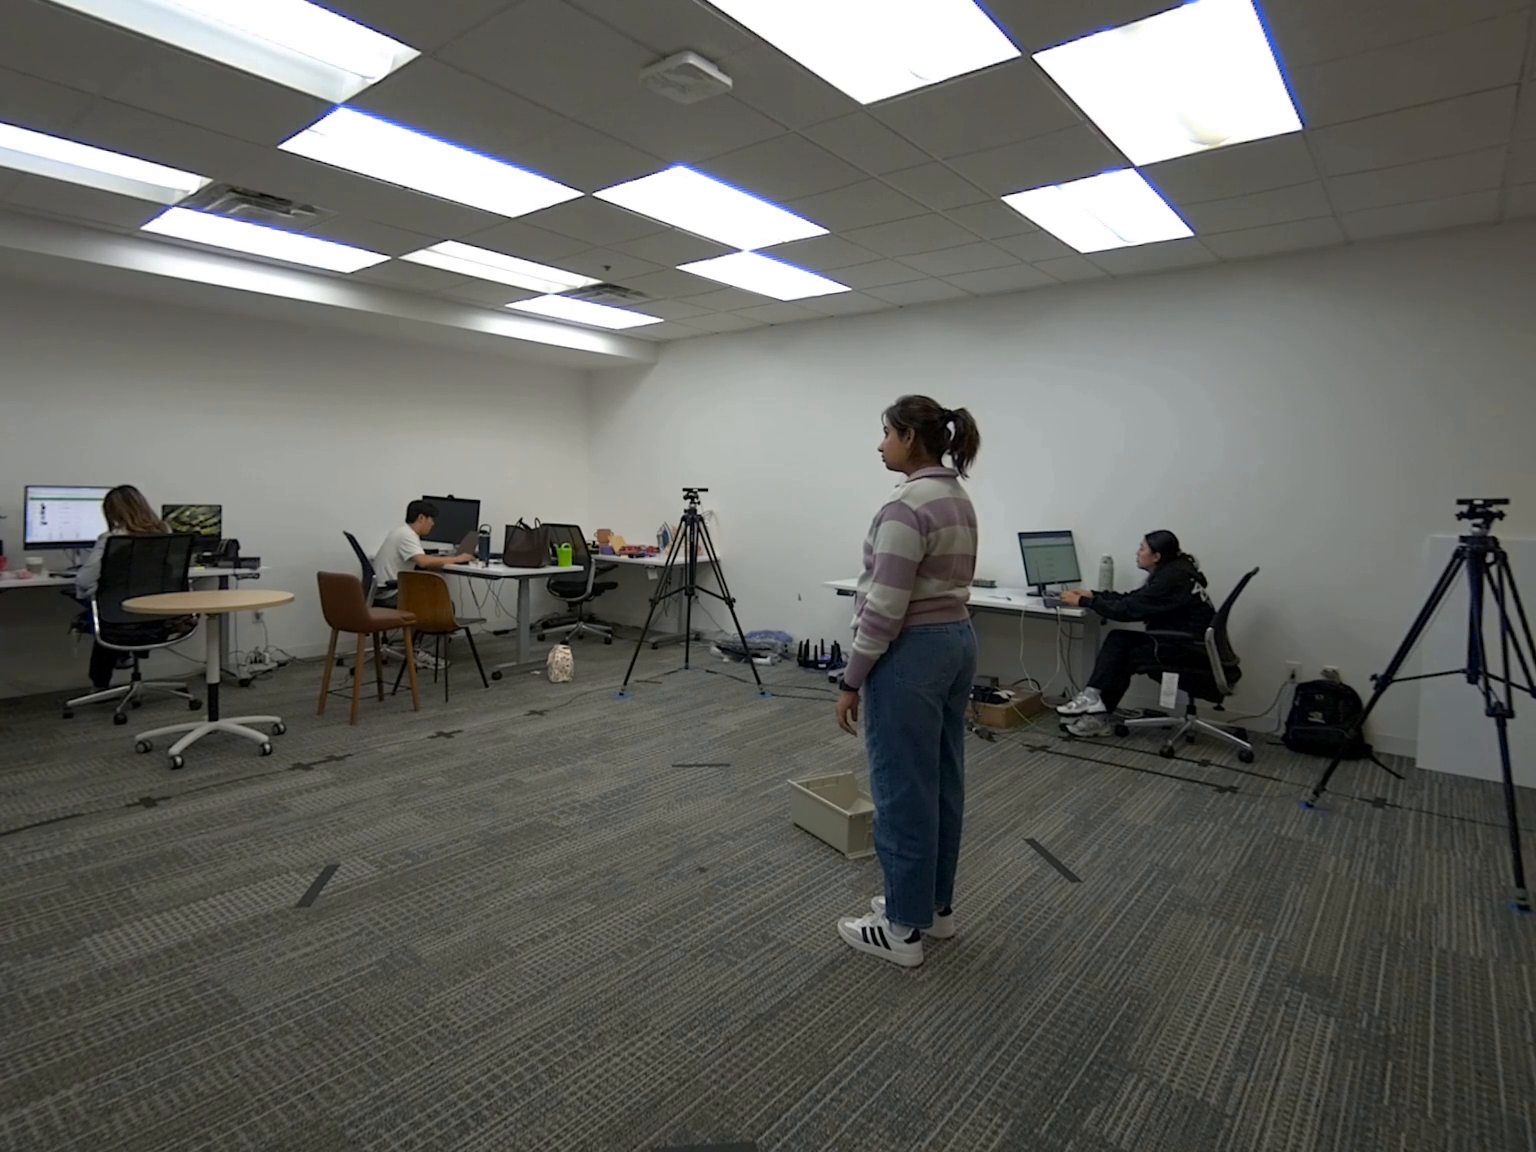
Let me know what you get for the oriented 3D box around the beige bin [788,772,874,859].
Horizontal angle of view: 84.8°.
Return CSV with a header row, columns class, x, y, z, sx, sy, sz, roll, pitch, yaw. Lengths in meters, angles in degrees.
class,x,y,z,sx,sy,sz,roll,pitch,yaw
beige bin,0.340,0.957,3.476,0.367,0.188,0.436,-4,7,-31
